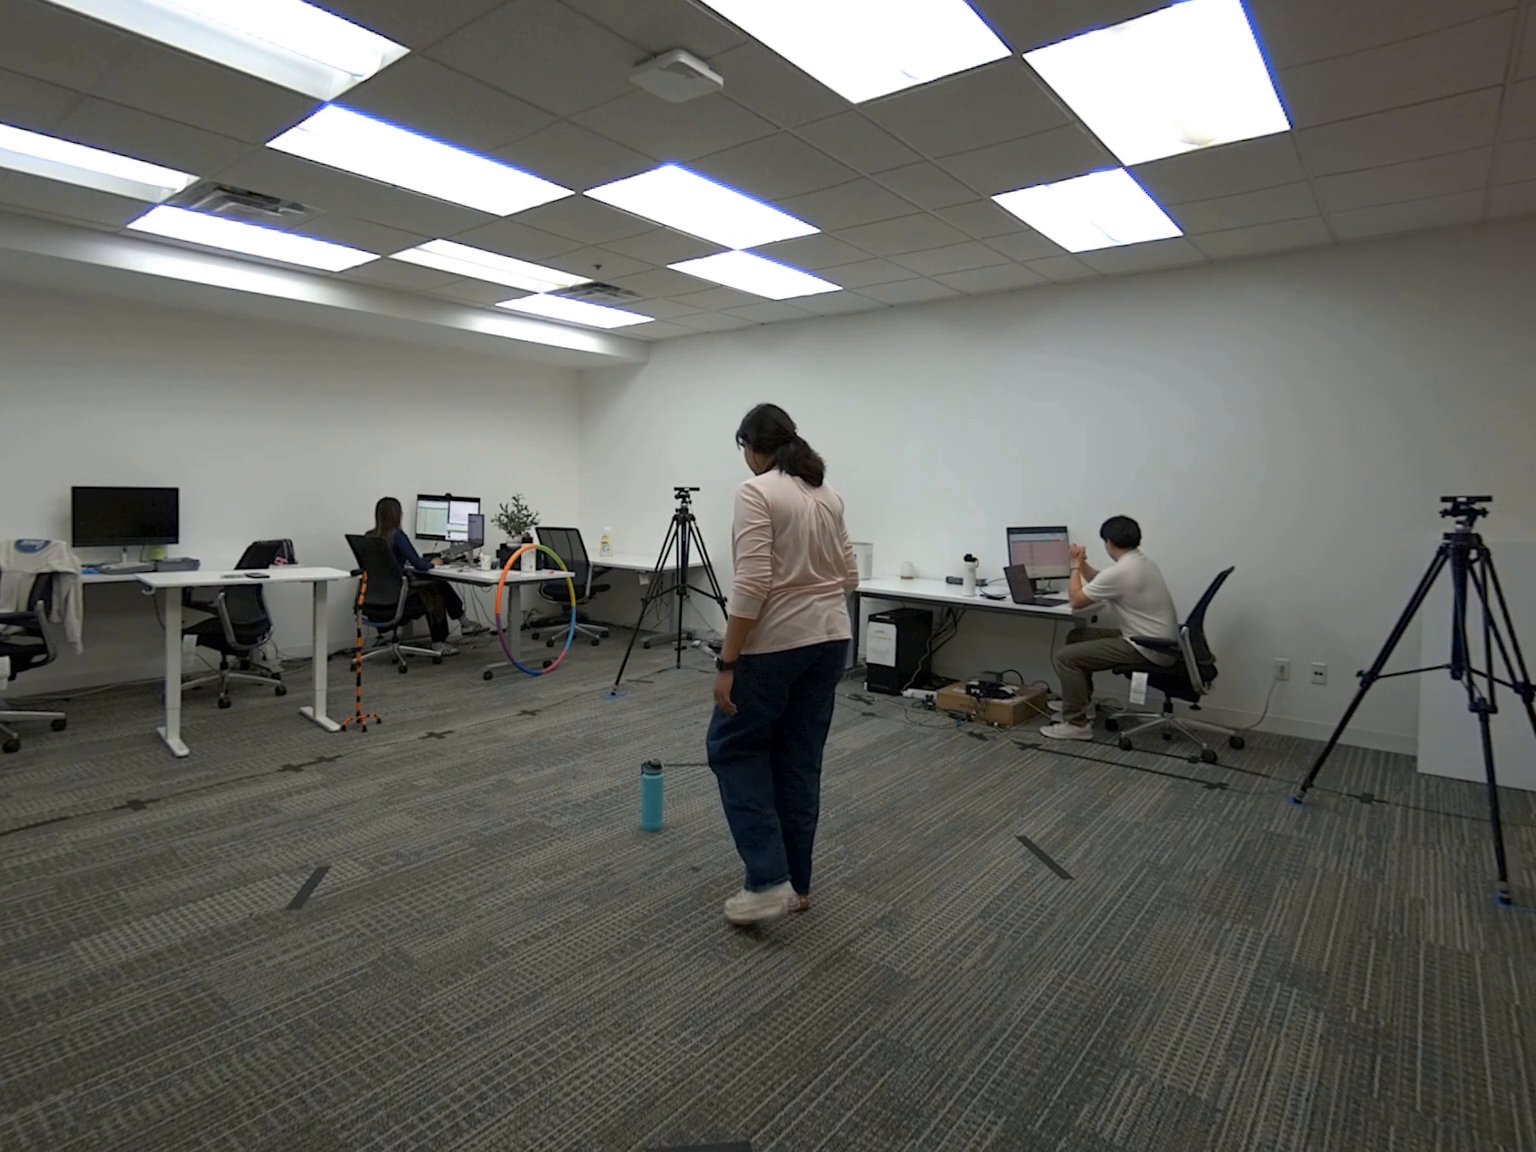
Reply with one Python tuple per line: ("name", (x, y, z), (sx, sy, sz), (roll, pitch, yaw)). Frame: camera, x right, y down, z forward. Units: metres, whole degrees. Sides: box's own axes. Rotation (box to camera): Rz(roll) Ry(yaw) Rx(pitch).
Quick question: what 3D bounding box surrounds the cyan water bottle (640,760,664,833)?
("cyan water bottle", (-0.488, 0.887, 3.482), (0.092, 0.283, 0.093), (1, 3, -2))
